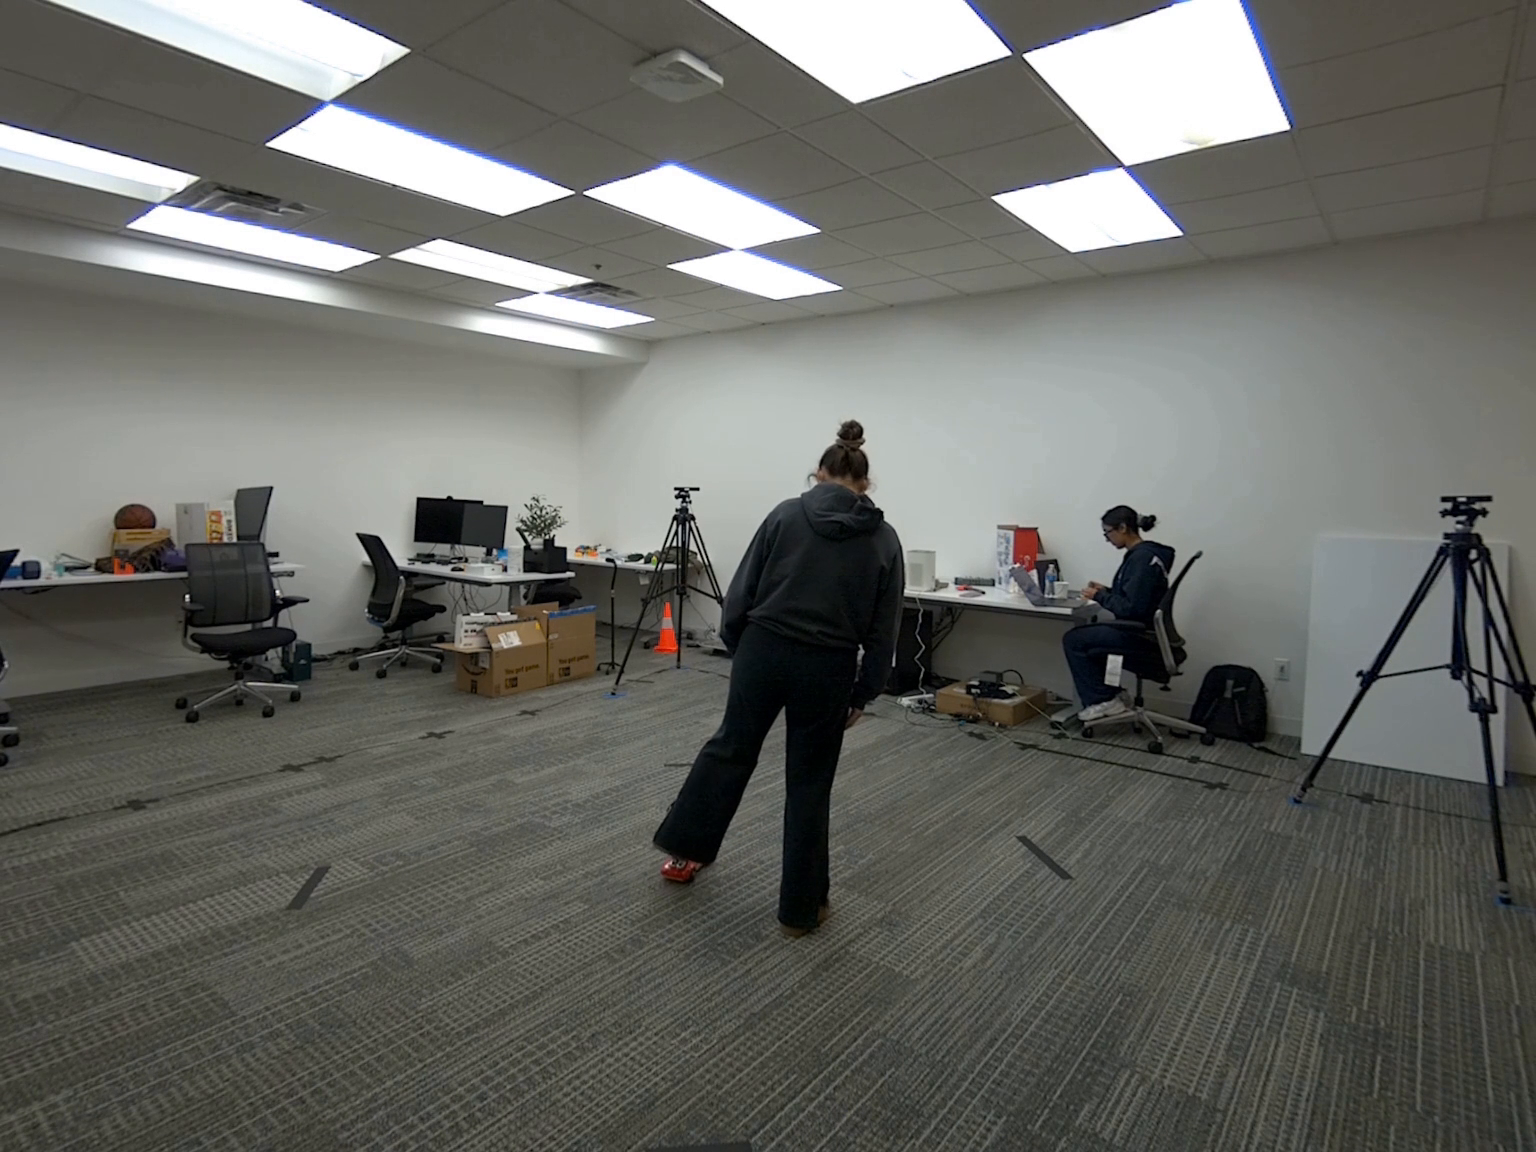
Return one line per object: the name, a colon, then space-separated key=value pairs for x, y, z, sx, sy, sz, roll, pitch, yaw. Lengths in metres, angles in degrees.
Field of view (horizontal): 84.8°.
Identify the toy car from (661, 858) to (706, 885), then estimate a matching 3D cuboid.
toy car: x=-0.297 y=1.039 z=3.069 sx=0.133 sy=0.083 sz=0.247 roll=2 pitch=-3 yaw=22
